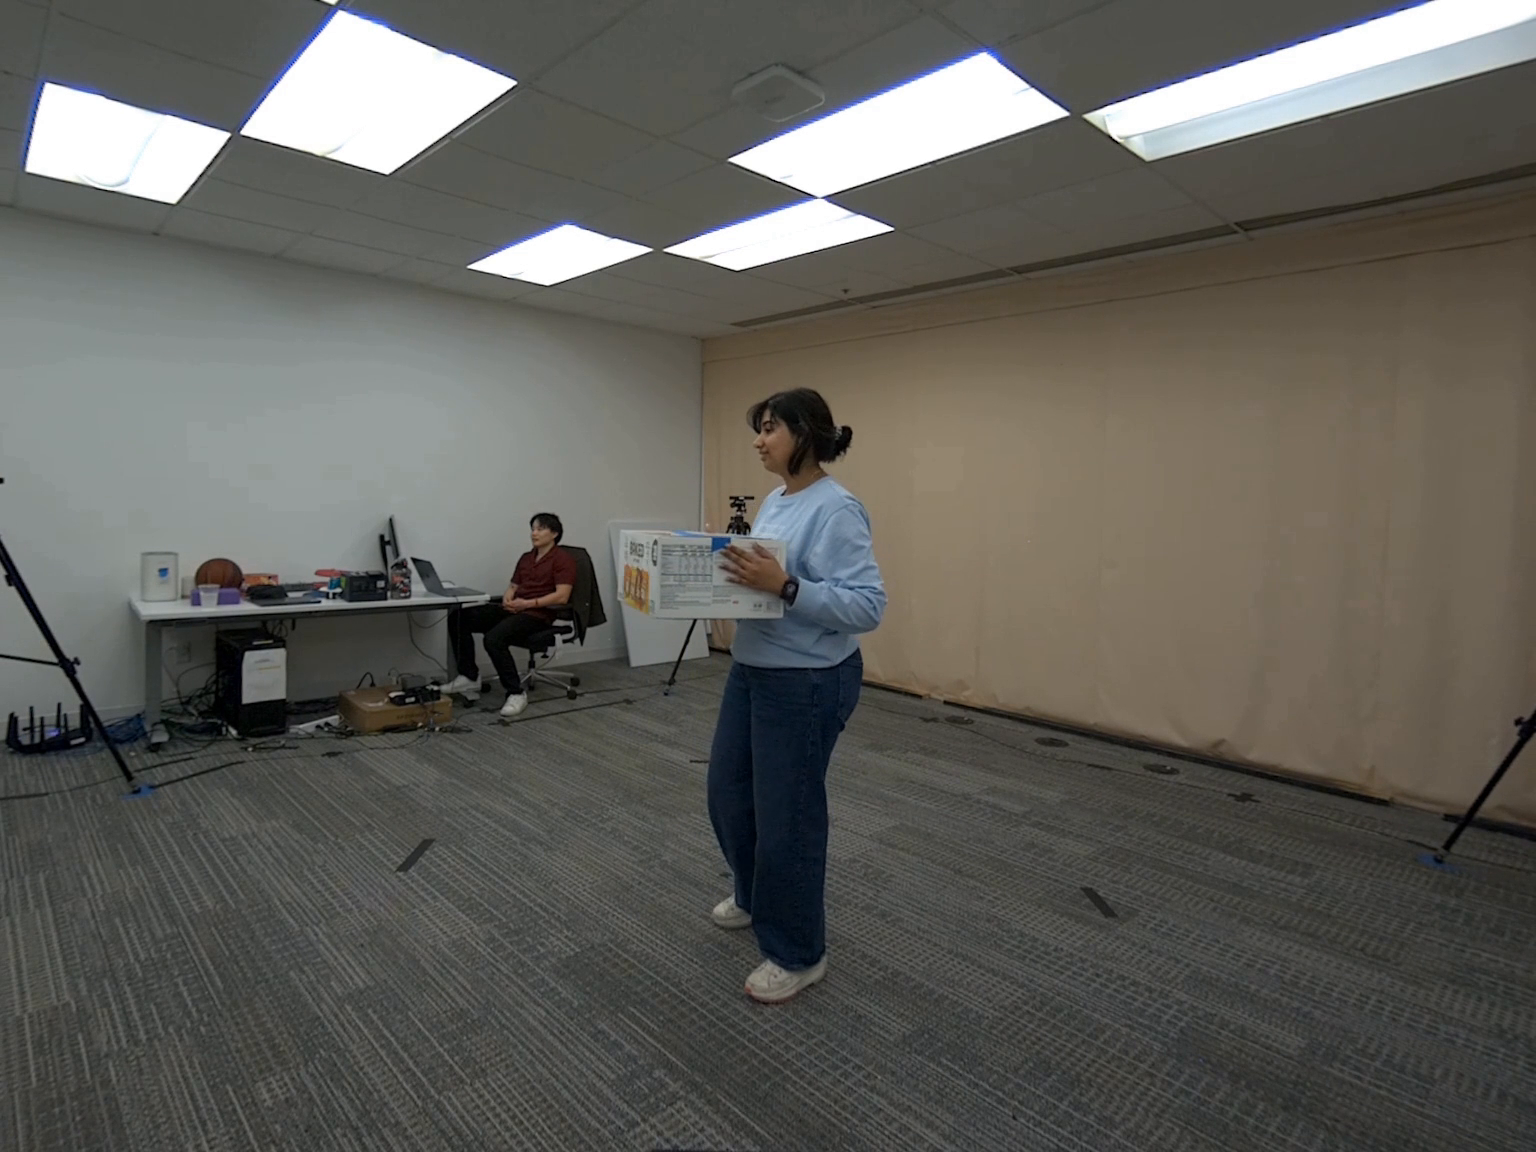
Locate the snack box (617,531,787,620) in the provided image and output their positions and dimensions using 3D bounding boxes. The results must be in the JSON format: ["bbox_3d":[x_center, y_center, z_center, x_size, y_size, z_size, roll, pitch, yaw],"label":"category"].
[{"bbox_3d":[-0.192,-0.009,2.270,0.335,0.205,0.412,1,4,-21],"label":"snack box"}]
